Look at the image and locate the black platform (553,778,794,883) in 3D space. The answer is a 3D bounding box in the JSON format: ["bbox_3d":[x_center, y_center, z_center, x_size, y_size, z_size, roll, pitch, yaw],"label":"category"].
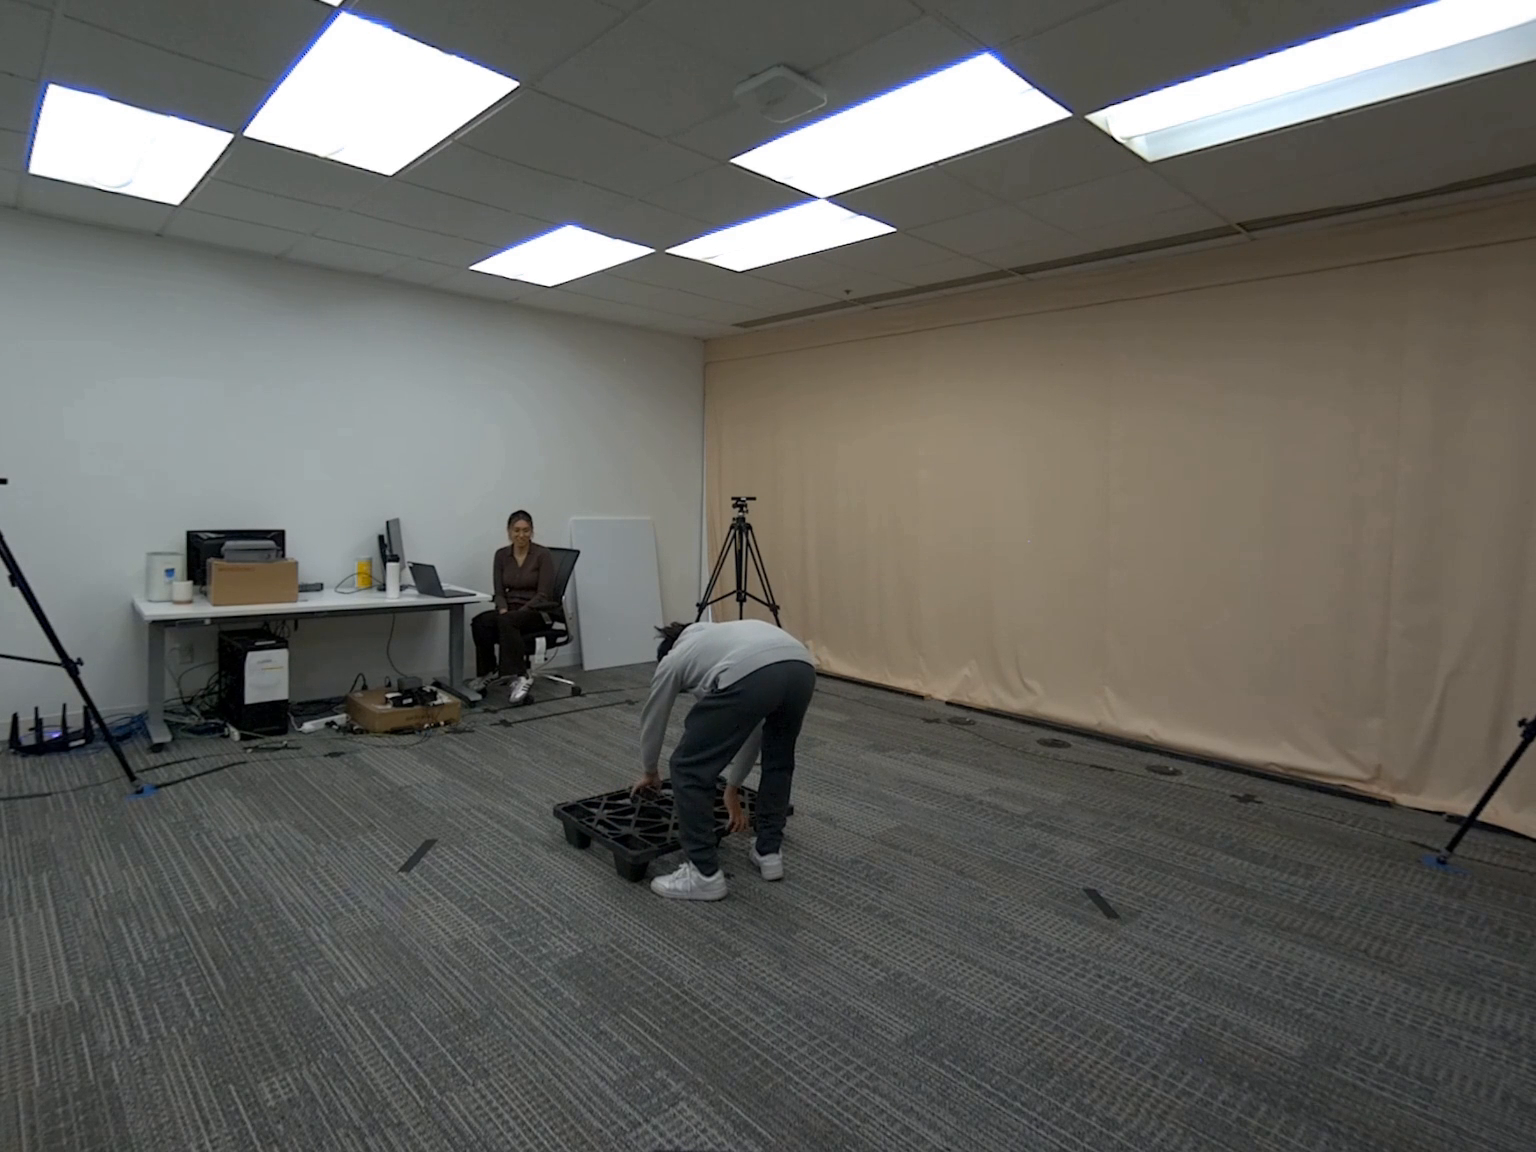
[{"bbox_3d":[-0.394,1.006,3.441,0.787,0.143,0.620,-3,6,-41],"label":"black platform"}]
